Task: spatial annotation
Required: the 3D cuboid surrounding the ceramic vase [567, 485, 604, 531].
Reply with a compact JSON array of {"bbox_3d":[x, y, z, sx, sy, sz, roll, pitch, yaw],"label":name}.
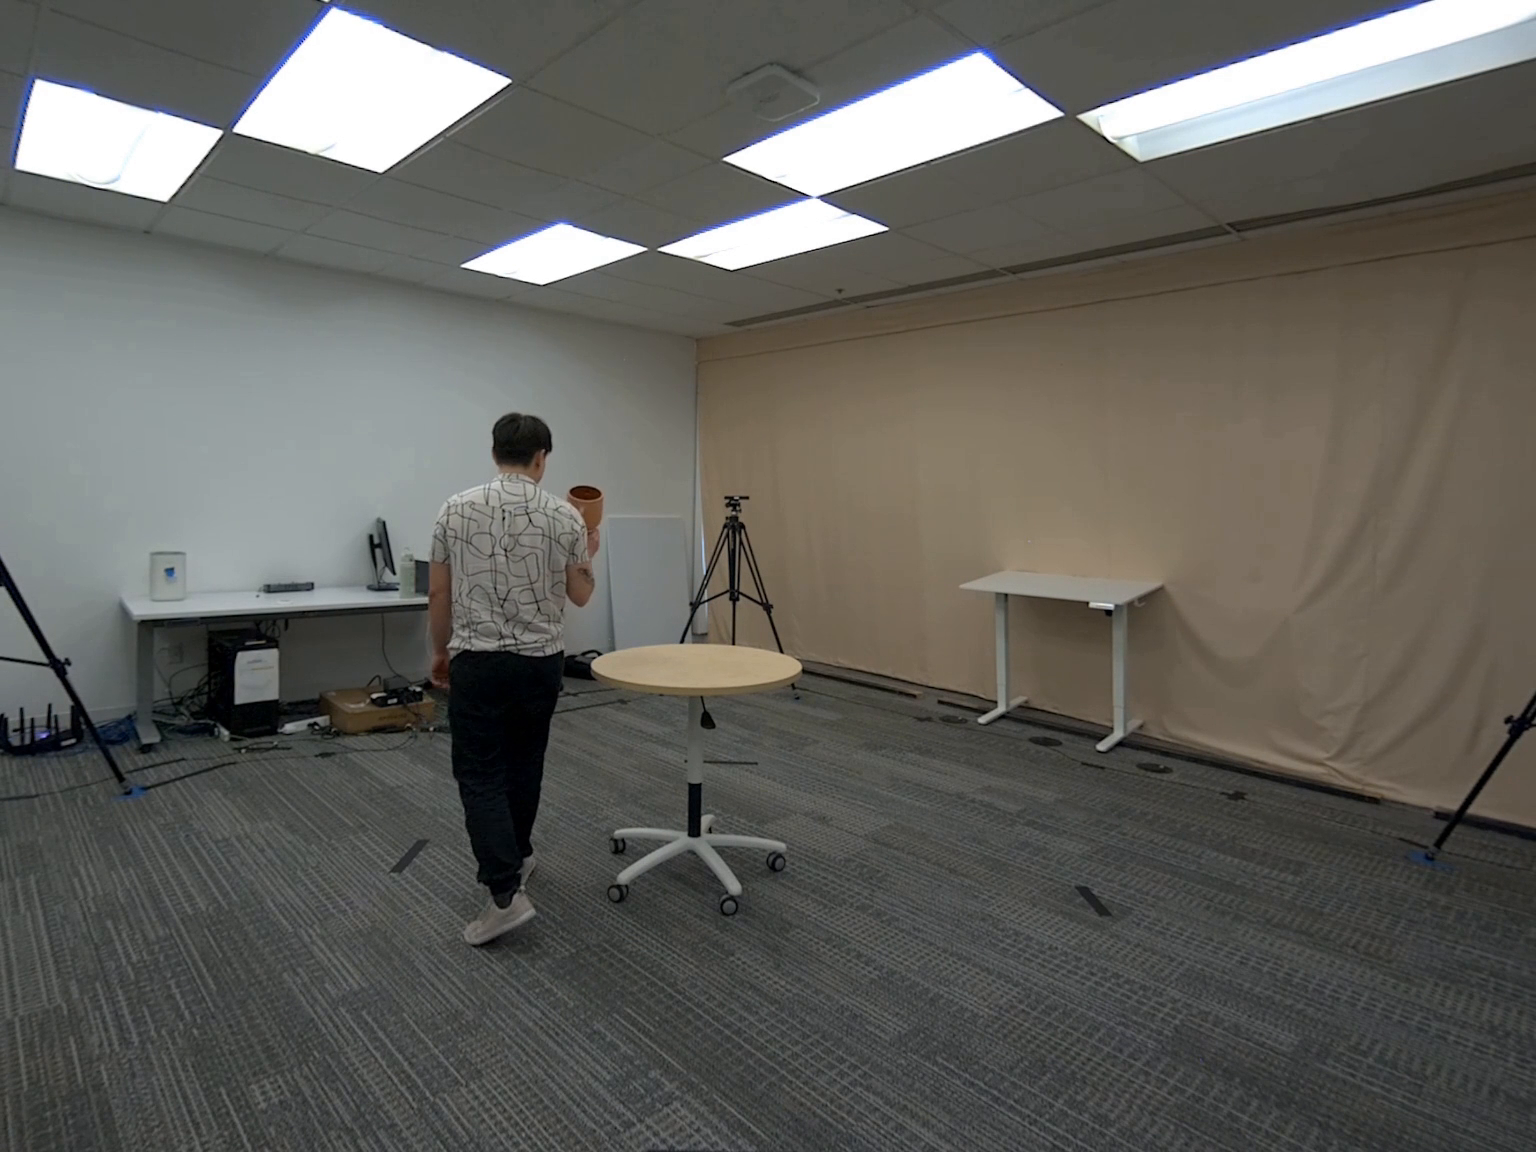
[{"bbox_3d":[-0.691,-0.212,3.120,0.138,0.216,0.157,28,33,28],"label":"ceramic vase"}]
